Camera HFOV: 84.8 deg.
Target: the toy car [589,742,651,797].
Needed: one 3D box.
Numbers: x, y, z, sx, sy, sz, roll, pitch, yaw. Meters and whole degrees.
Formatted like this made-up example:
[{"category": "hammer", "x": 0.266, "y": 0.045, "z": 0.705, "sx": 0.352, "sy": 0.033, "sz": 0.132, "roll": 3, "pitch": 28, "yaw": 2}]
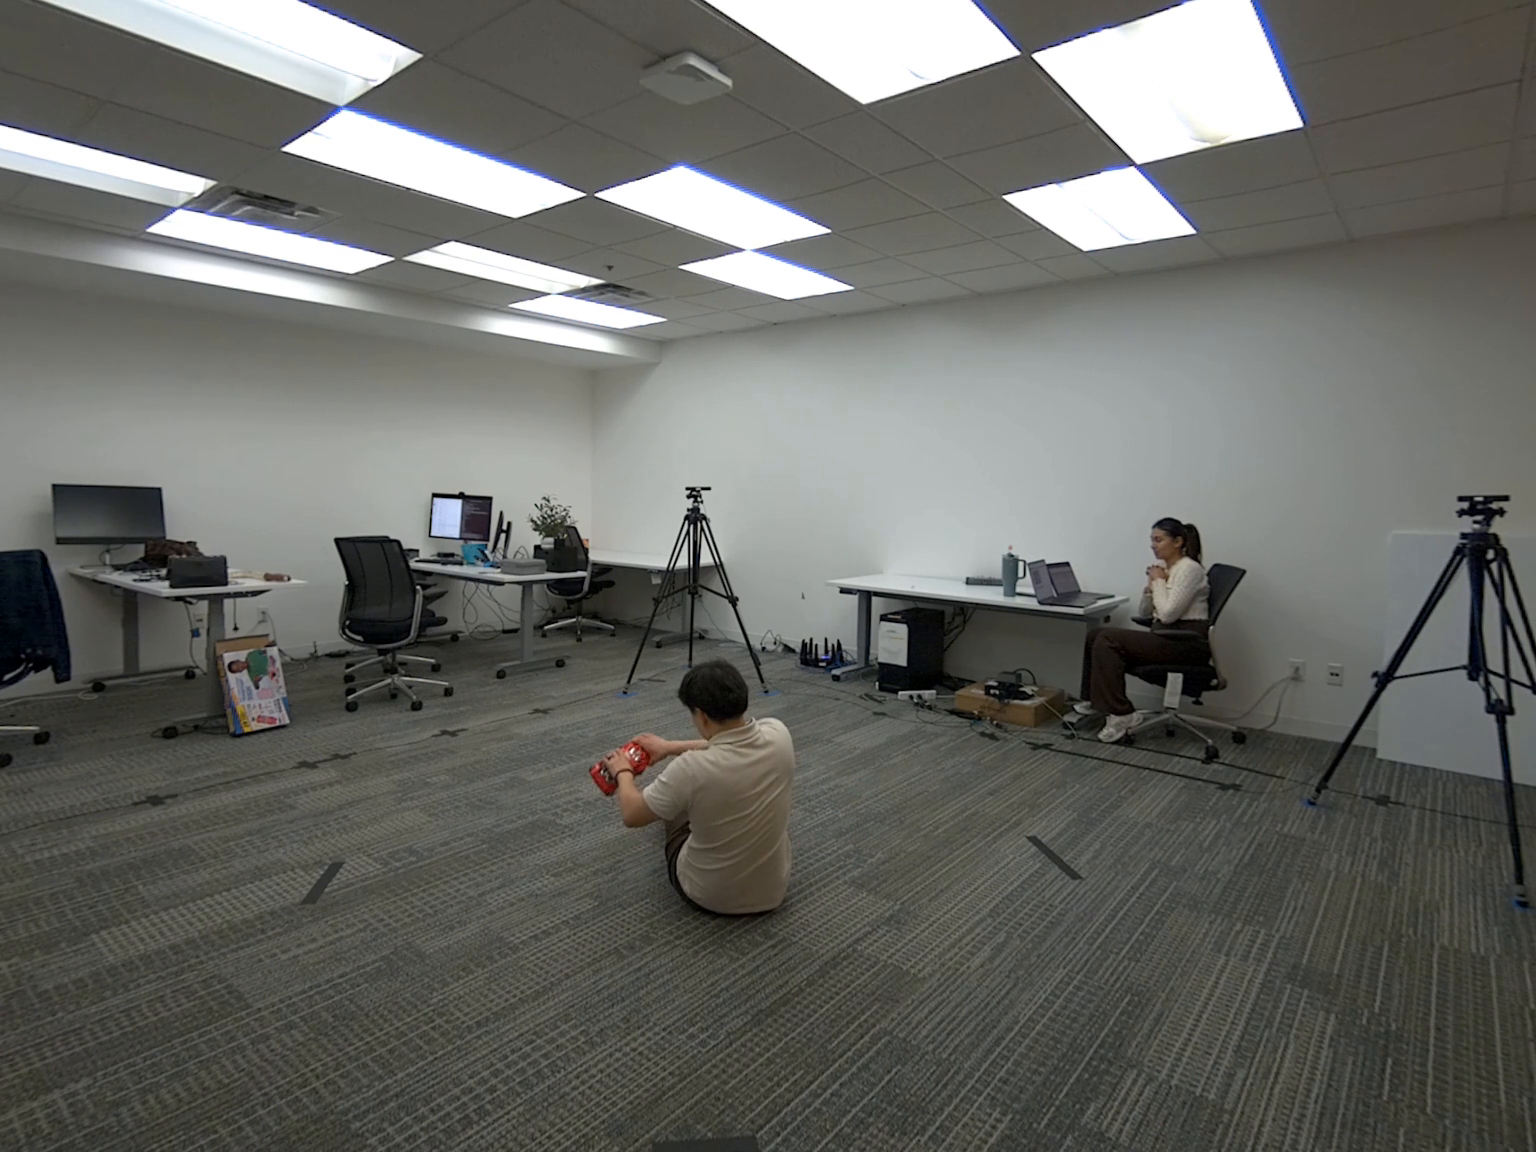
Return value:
[{"category": "toy car", "x": -0.513, "y": 0.679, "z": 3.030, "sx": 0.251, "sy": 0.133, "sz": 0.082, "roll": -30, "pitch": -17, "yaw": -36}]
